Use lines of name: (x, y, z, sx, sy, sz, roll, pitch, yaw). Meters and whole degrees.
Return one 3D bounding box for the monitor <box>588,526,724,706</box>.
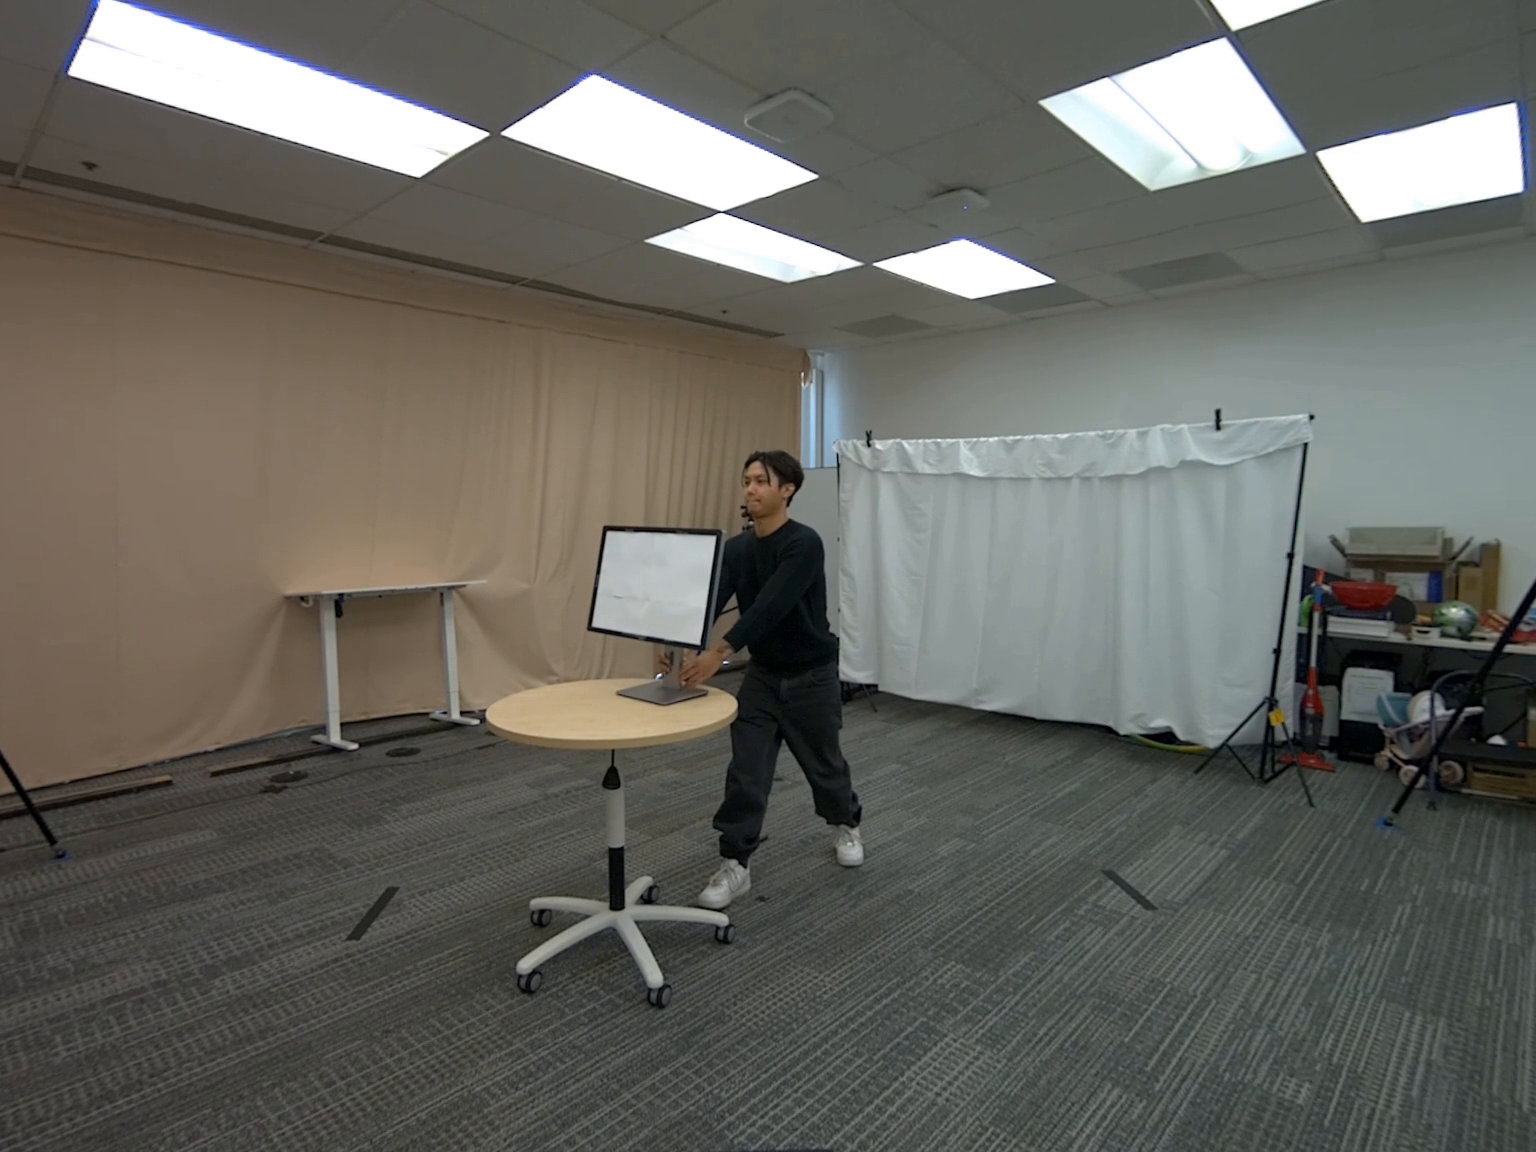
monitor: (-0.341, 0.116, 2.712, 0.557, 0.521, 0.181, 3, 5, 41)
